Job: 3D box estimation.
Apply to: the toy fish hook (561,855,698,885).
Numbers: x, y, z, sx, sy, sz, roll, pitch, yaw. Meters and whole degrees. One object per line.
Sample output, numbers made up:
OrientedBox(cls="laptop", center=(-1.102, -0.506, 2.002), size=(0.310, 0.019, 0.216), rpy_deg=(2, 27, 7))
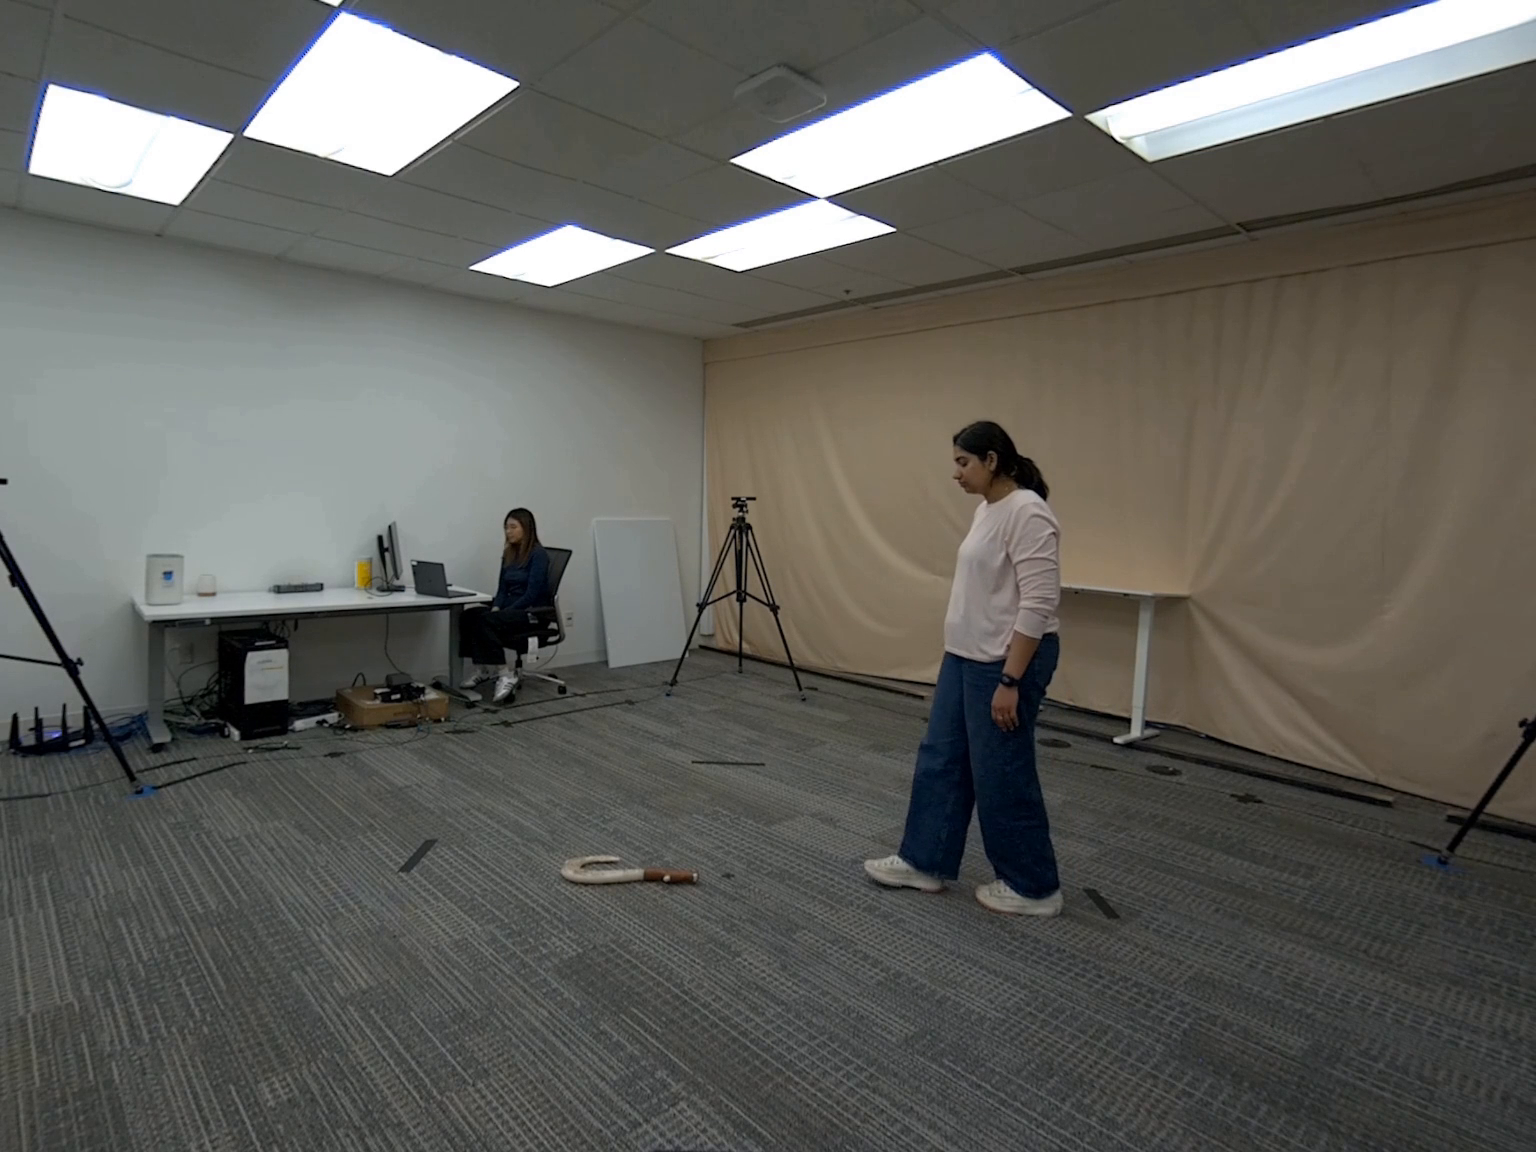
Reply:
OrientedBox(cls="toy fish hook", center=(-0.507, 1.069, 3.098), size=(0.507, 0.048, 0.225), rpy_deg=(1, 7, 1))
